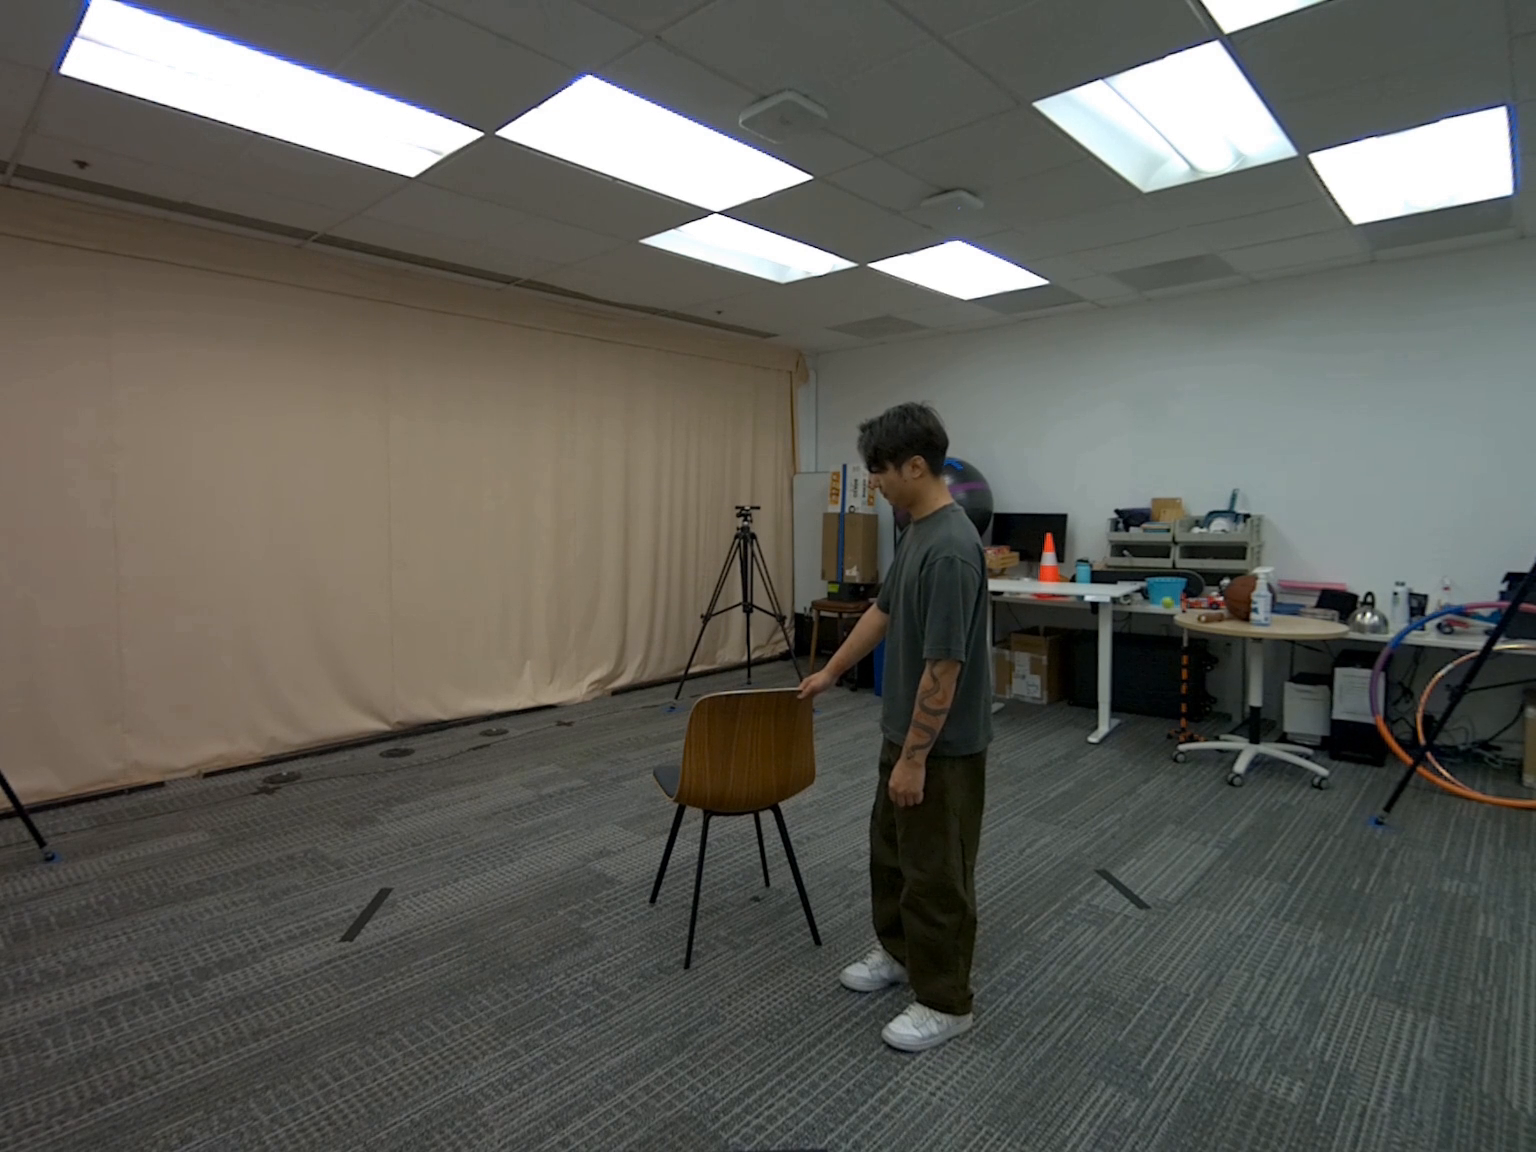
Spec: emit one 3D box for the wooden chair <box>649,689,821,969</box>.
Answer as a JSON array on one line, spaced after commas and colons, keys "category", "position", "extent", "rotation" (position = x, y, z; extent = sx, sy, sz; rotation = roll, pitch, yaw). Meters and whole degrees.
[{"category": "wooden chair", "position": [-0.121, 0.732, 2.789], "extent": [0.469, 0.873, 0.536], "rotation": [-2, 8, -20]}]
